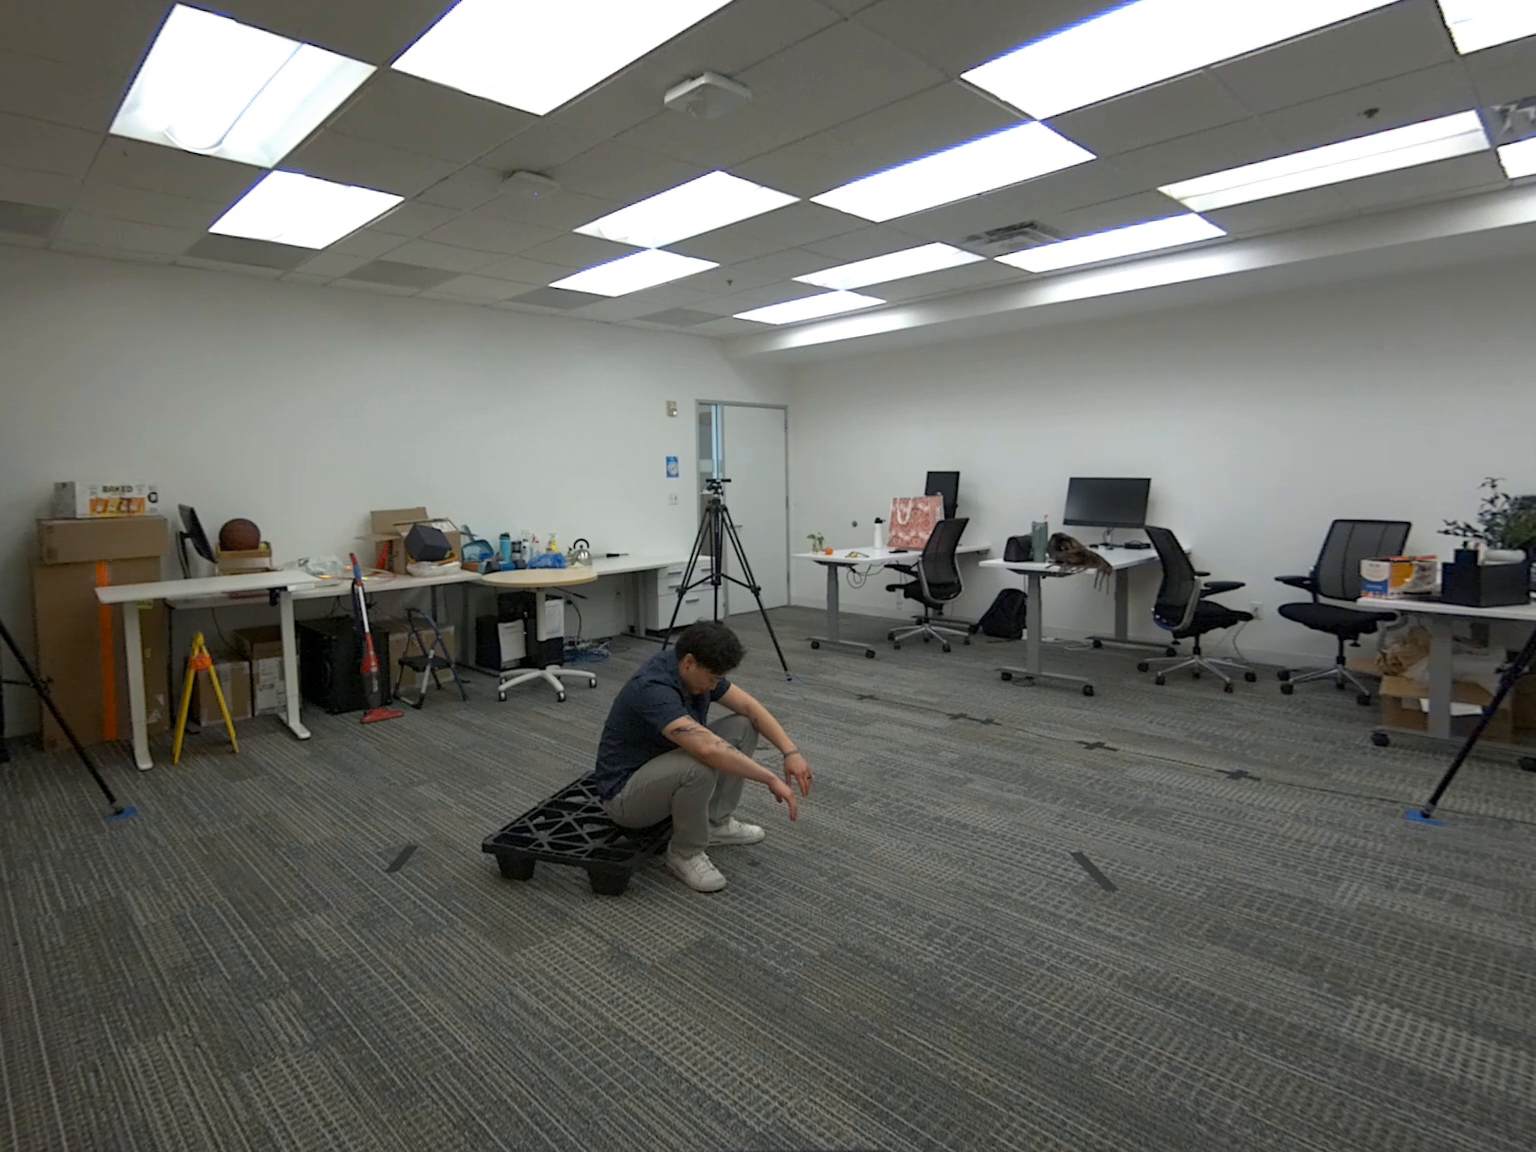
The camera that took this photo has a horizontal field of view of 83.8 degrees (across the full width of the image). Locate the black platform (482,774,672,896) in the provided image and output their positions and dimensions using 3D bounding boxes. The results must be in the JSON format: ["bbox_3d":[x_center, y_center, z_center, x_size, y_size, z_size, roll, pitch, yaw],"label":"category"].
[{"bbox_3d":[-0.609,0.967,3.292,0.616,0.142,0.794,1,7,18],"label":"black platform"}]
